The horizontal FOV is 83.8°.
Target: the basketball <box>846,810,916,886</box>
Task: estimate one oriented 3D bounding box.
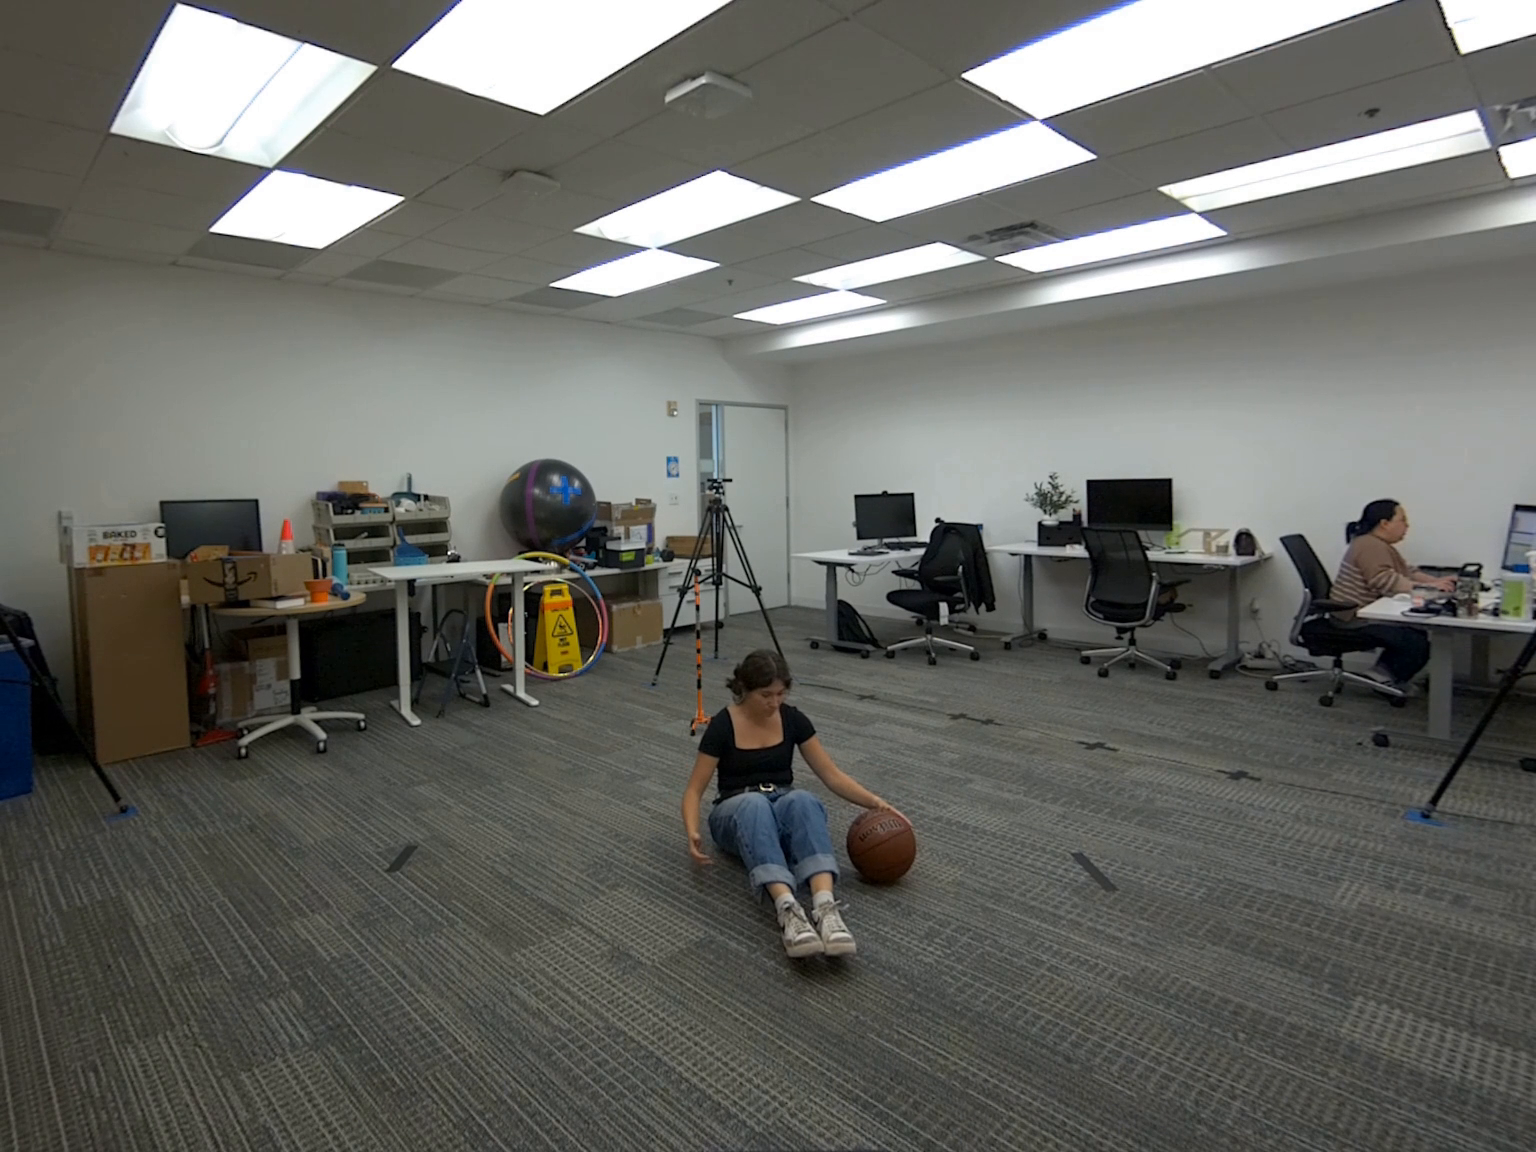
[{"bbox_3d":[0.391,0.929,2.958,0.236,0.235,0.237,-1,5,-2],"label":"basketball"}]
